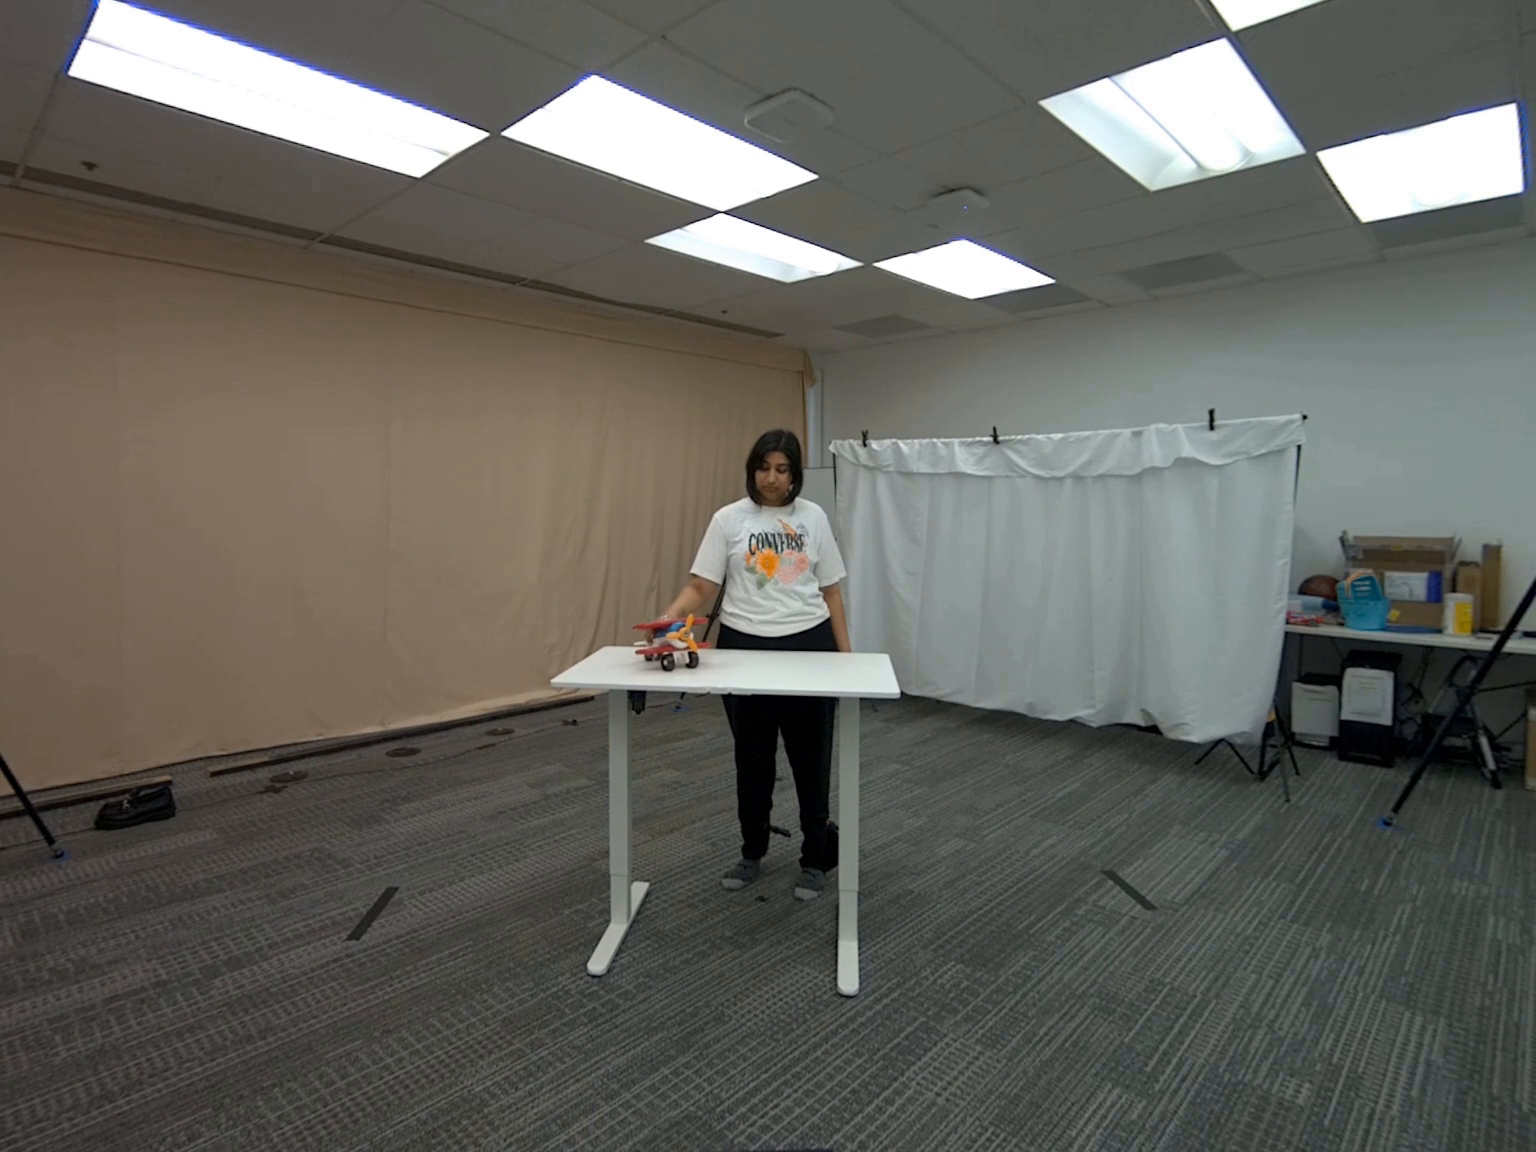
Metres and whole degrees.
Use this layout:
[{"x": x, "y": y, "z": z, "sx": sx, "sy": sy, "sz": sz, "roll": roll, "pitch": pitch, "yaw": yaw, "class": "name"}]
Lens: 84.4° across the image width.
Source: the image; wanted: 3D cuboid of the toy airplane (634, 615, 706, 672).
[{"x": -0.338, "y": 0.213, "z": 2.681, "sx": 0.266, "sy": 0.156, "sz": 0.245, "roll": 3, "pitch": 5, "yaw": 28, "class": "toy airplane"}]
